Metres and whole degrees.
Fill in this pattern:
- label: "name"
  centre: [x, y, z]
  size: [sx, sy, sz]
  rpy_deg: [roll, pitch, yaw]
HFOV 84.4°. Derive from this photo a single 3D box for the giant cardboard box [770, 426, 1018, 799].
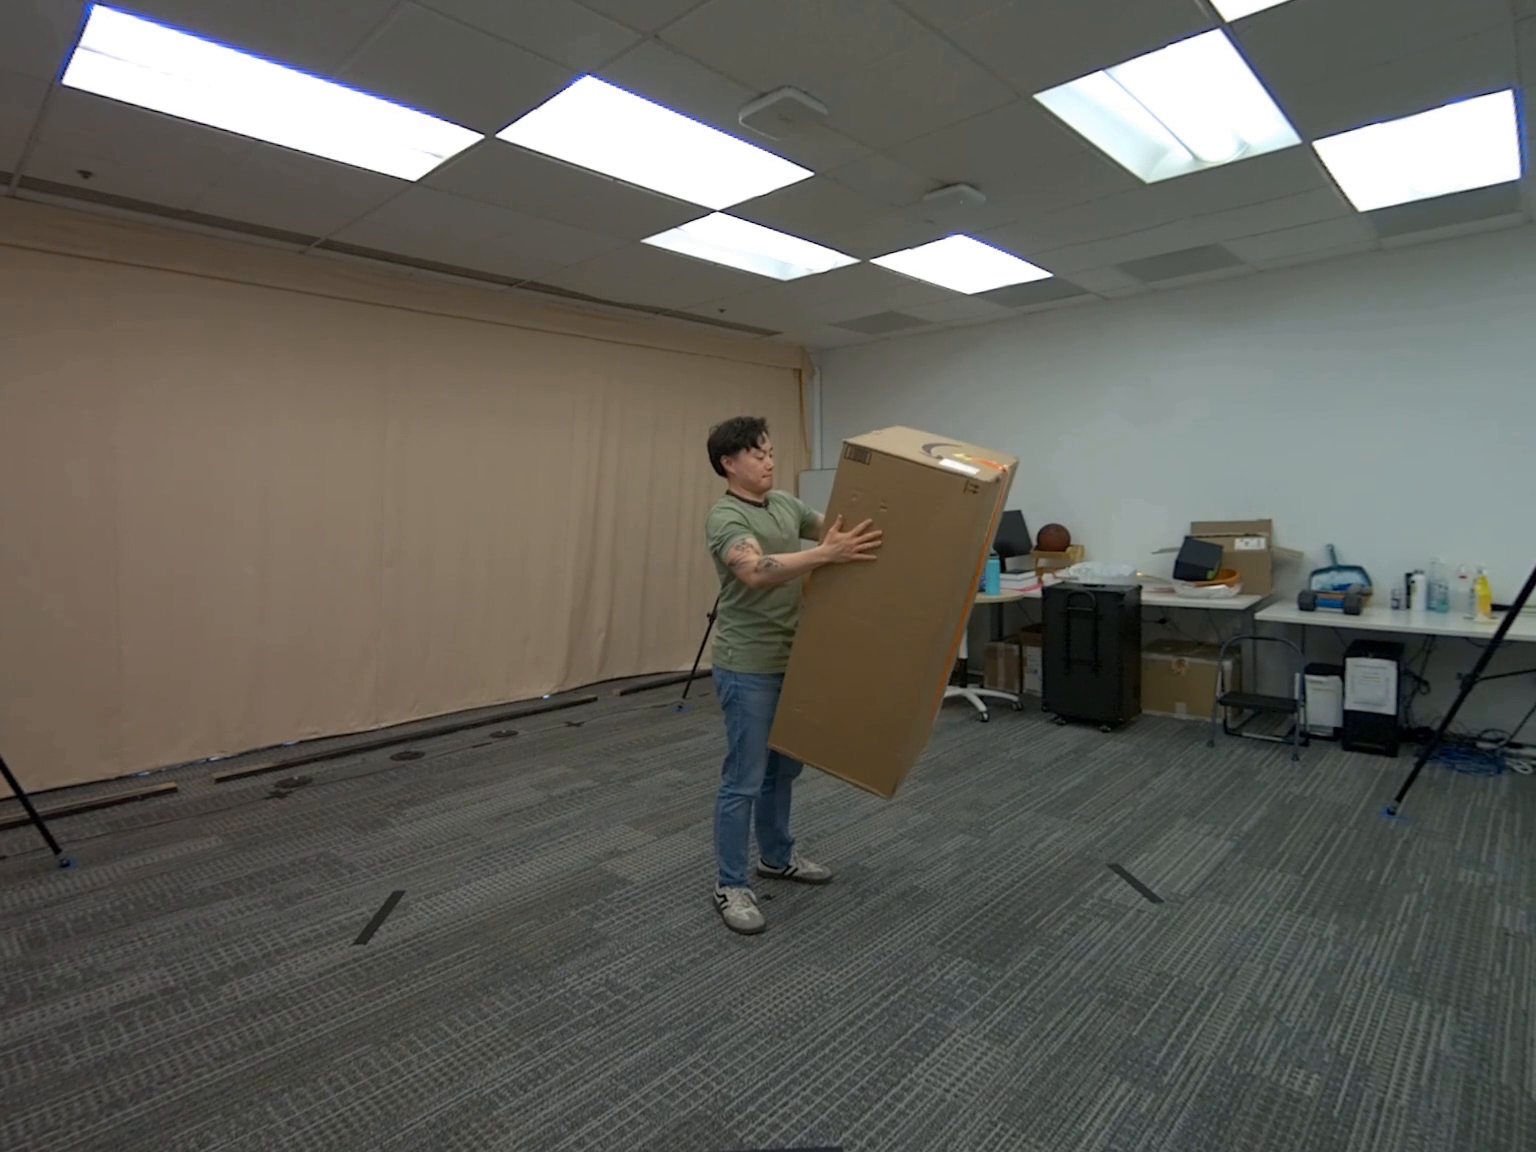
- label: "giant cardboard box"
  centre: [0.420, 0.081, 2.713]
  size: [0.437, 1.018, 0.567]
  rpy_deg: [19, 19, 21]
